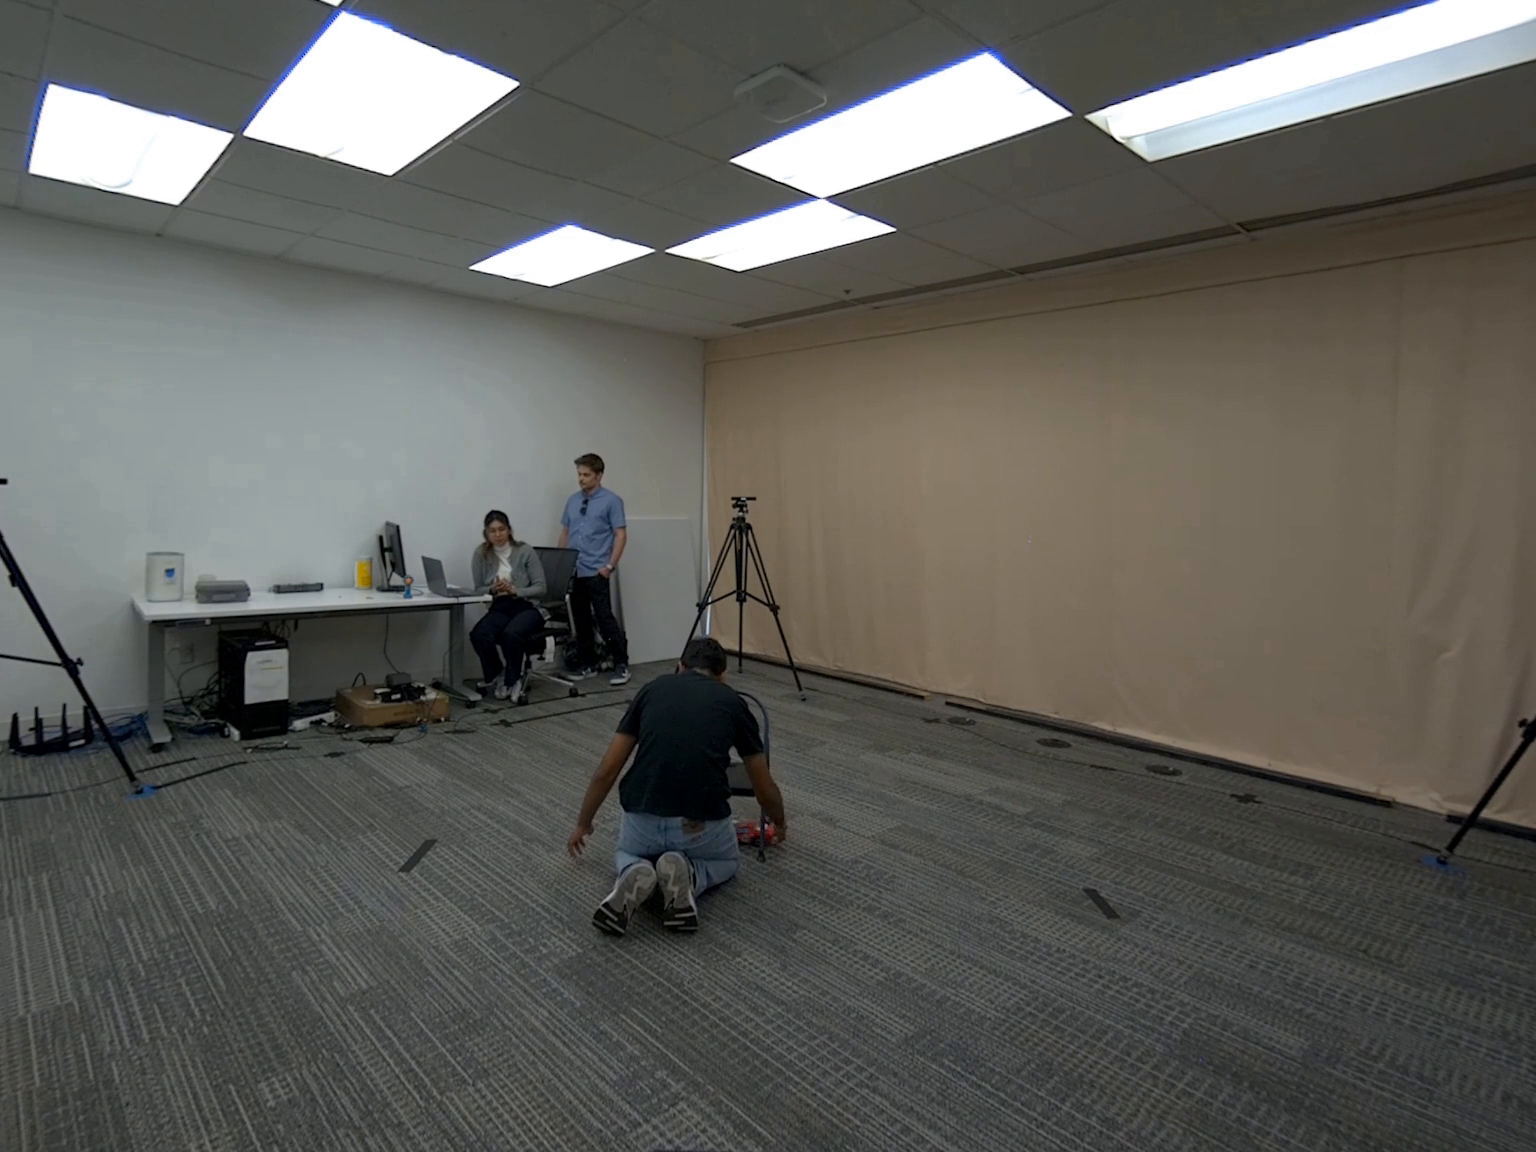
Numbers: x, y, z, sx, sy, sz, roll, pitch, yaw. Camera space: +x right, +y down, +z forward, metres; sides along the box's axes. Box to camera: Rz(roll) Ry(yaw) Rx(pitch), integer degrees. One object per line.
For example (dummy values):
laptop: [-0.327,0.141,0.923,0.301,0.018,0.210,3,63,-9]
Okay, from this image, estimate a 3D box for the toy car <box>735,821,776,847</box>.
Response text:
toy car: [-0.076,1.051,3.417,0.254,0.083,0.131,-7,6,-1]
